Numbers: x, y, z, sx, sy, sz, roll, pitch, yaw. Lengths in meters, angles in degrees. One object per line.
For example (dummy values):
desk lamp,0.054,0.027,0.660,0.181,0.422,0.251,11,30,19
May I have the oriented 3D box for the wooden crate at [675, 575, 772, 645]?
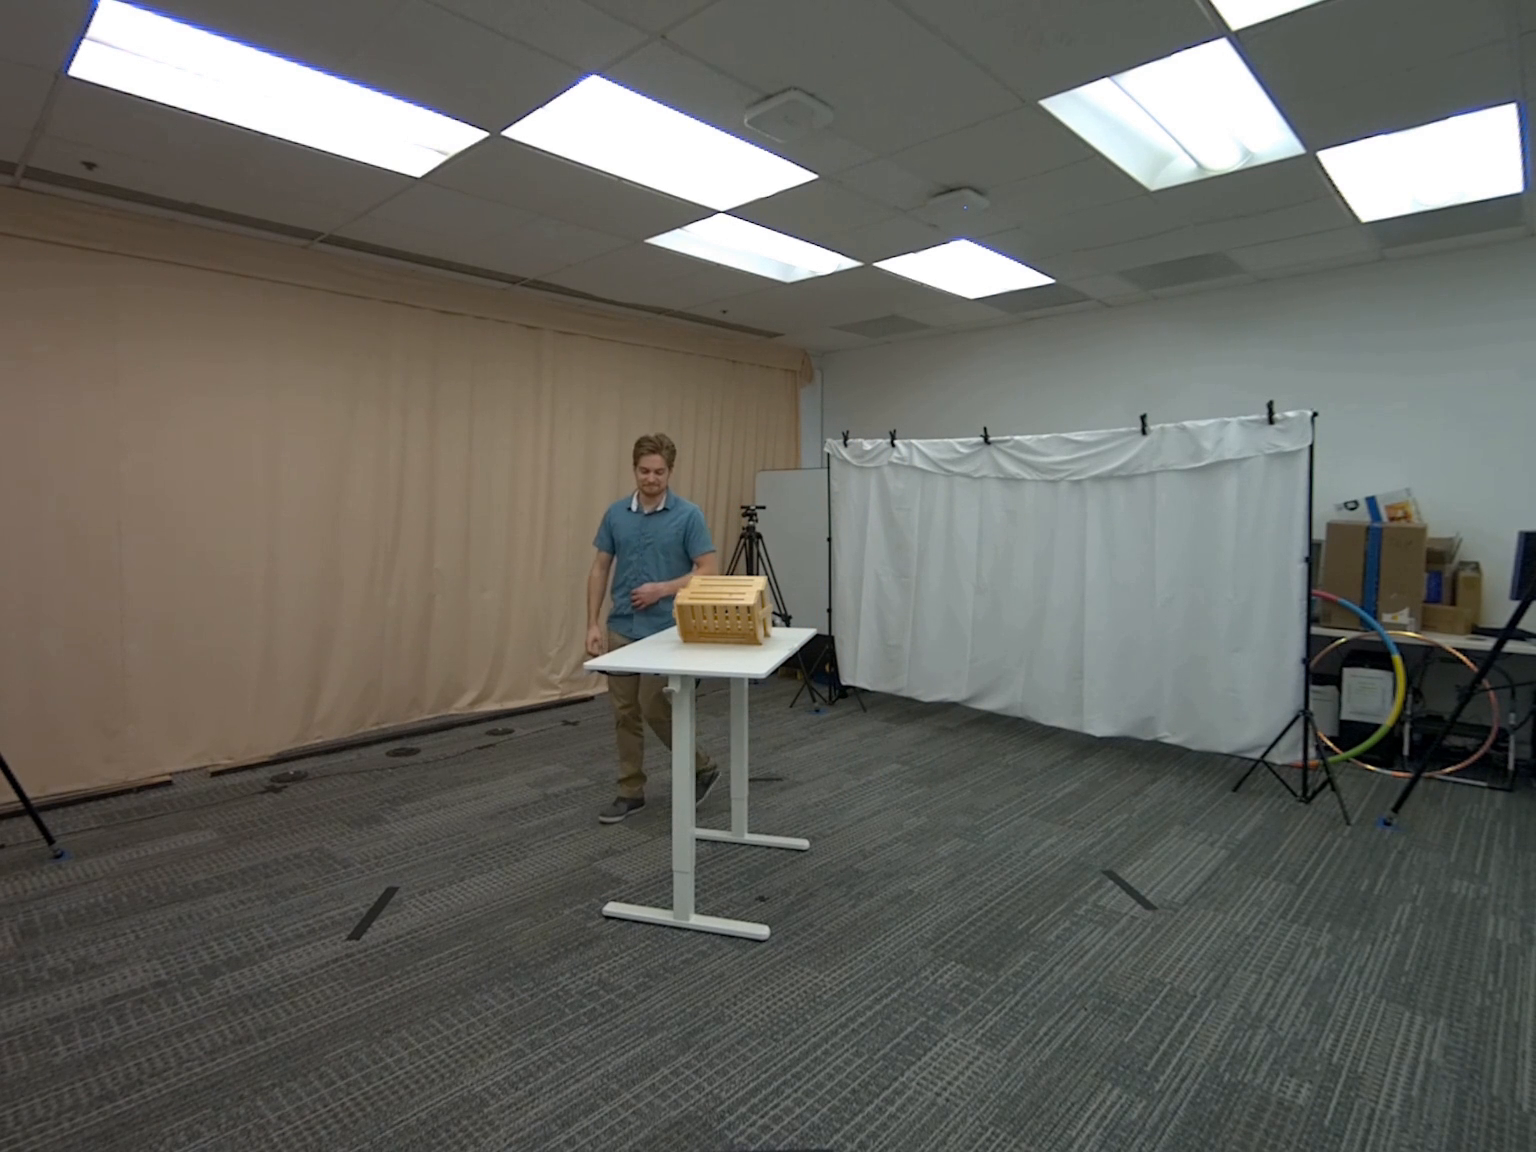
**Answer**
wooden crate,-0.161,0.157,3.157,0.329,0.296,0.275,0,30,12
